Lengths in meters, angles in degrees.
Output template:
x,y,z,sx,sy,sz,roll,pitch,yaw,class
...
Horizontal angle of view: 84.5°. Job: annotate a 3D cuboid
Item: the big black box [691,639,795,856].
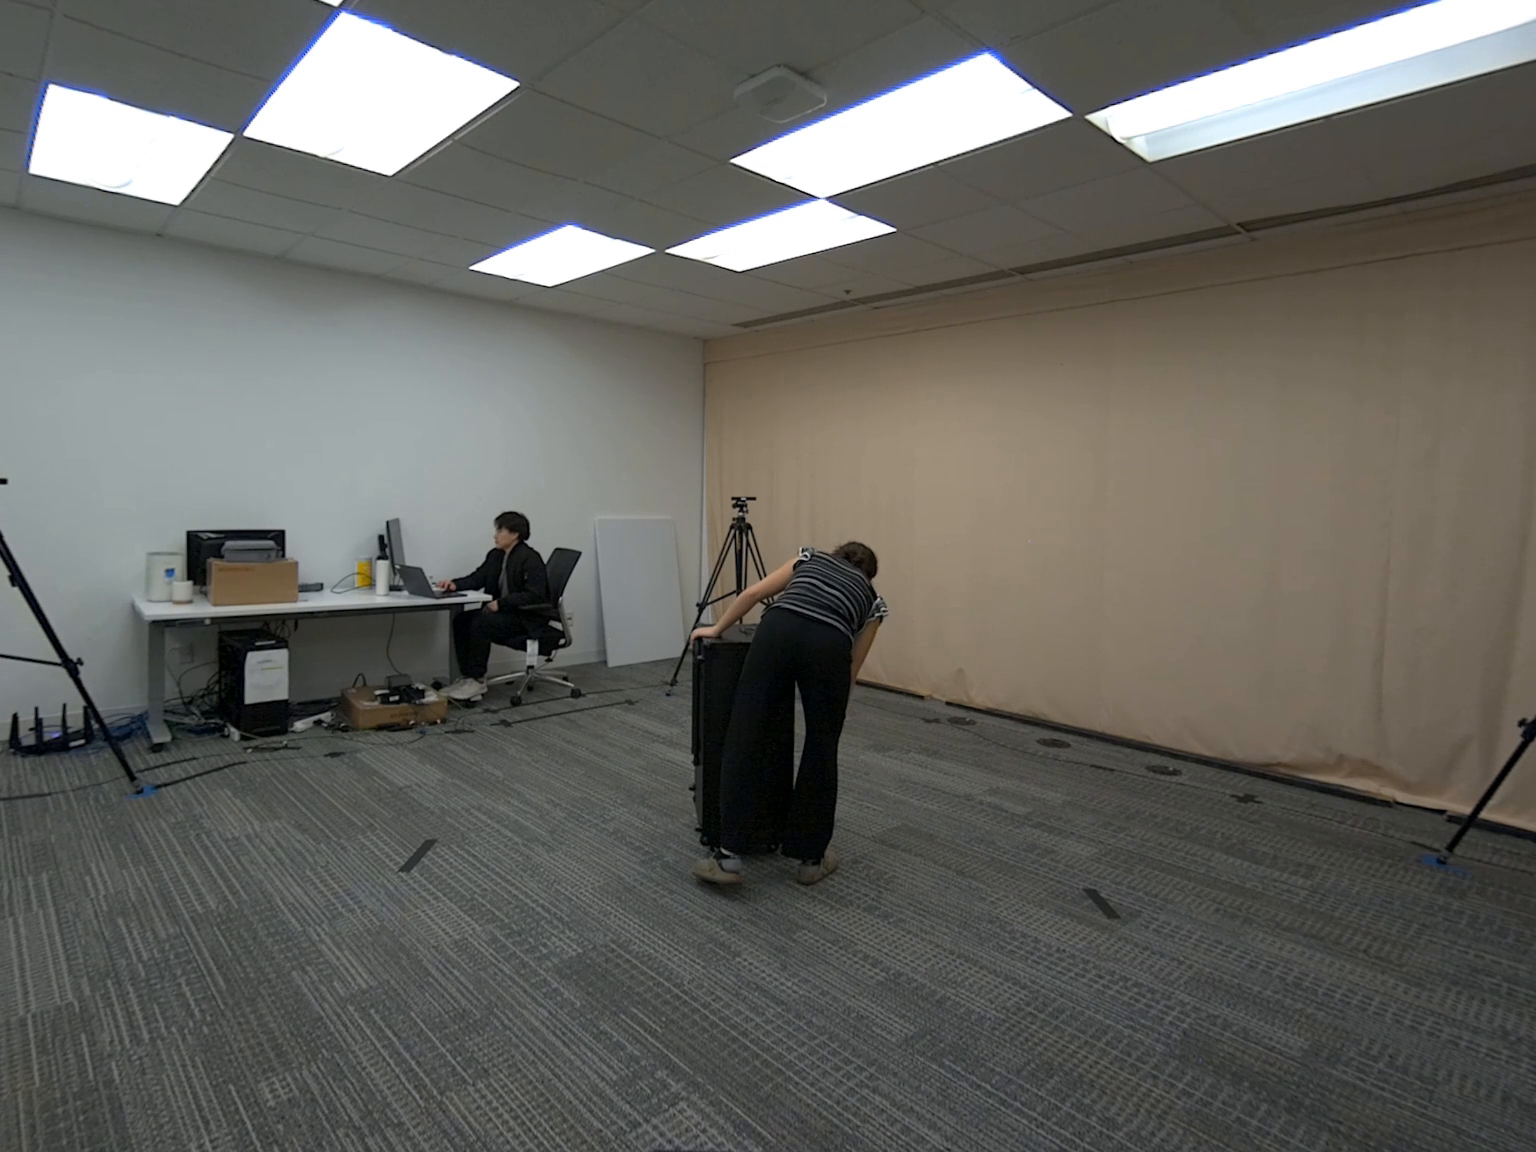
x,y,z,sx,sy,sz,roll,pitch,yaw,class
-0.130,0.651,3.435,0.394,0.859,0.525,0,3,-6,big black box
